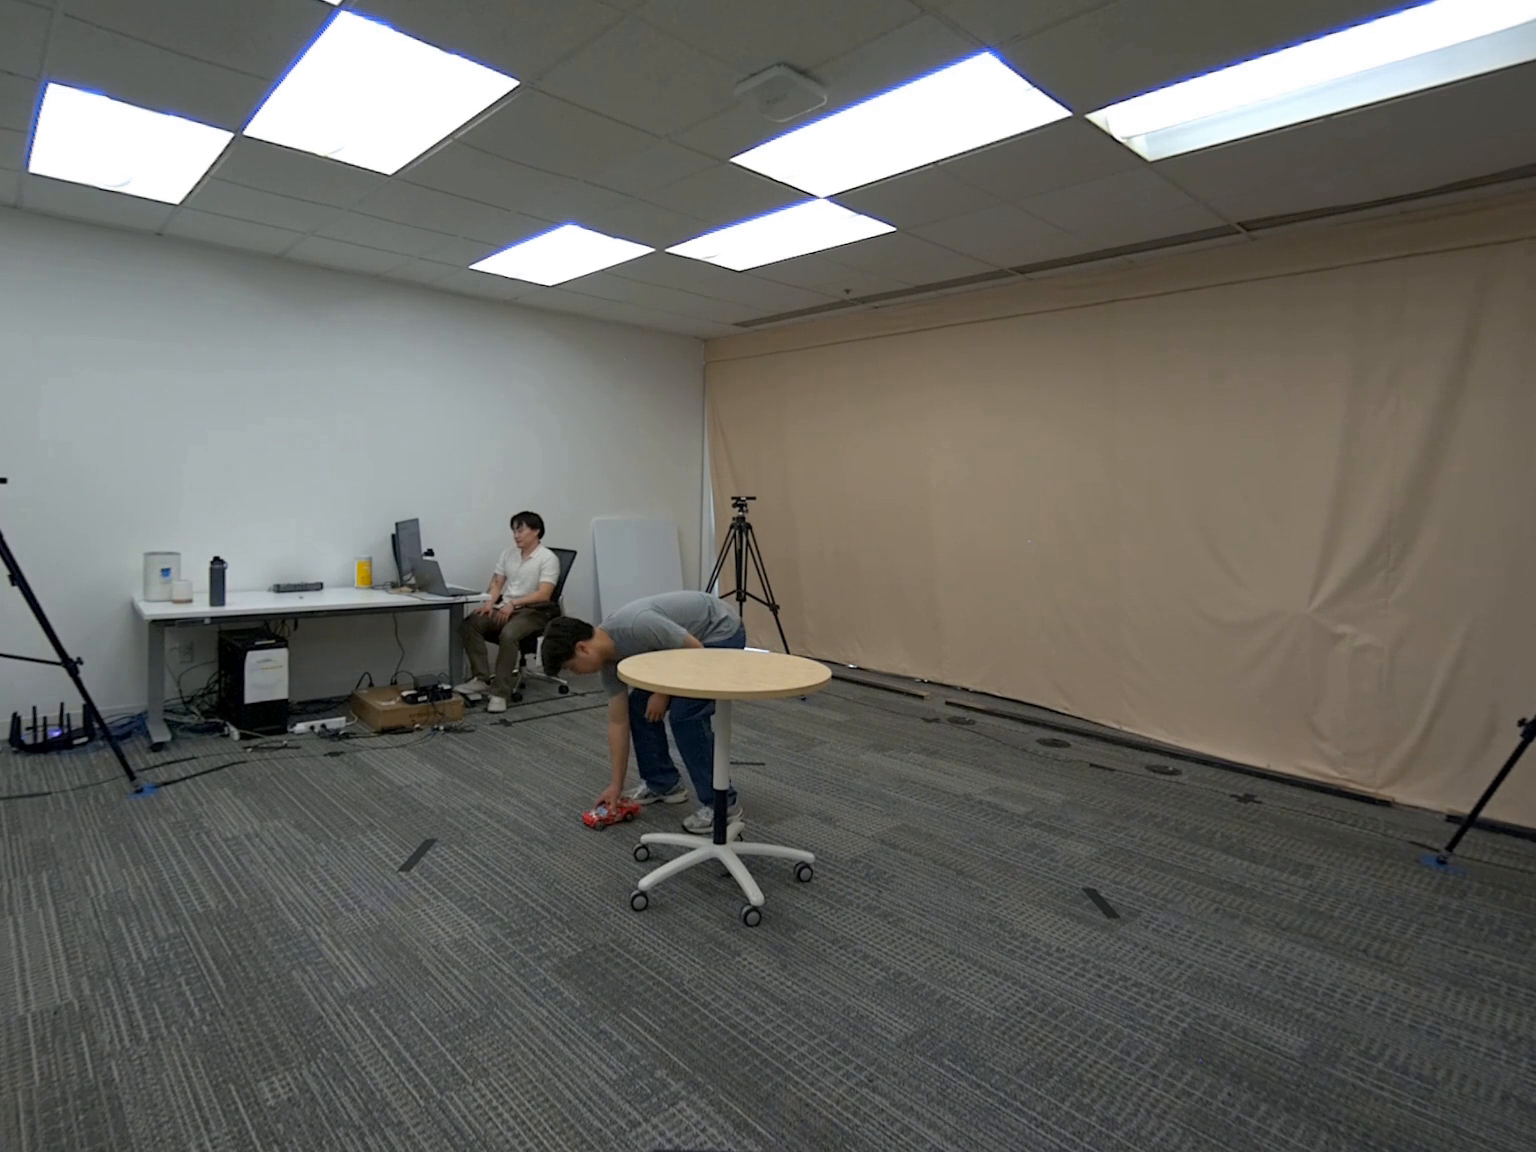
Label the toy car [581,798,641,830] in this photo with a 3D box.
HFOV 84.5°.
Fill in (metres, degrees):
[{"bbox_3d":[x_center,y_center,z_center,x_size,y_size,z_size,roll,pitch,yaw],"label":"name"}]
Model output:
[{"bbox_3d":[-0.683,1.021,3.607,0.250,0.082,0.133,-17,13,-42],"label":"toy car"}]
